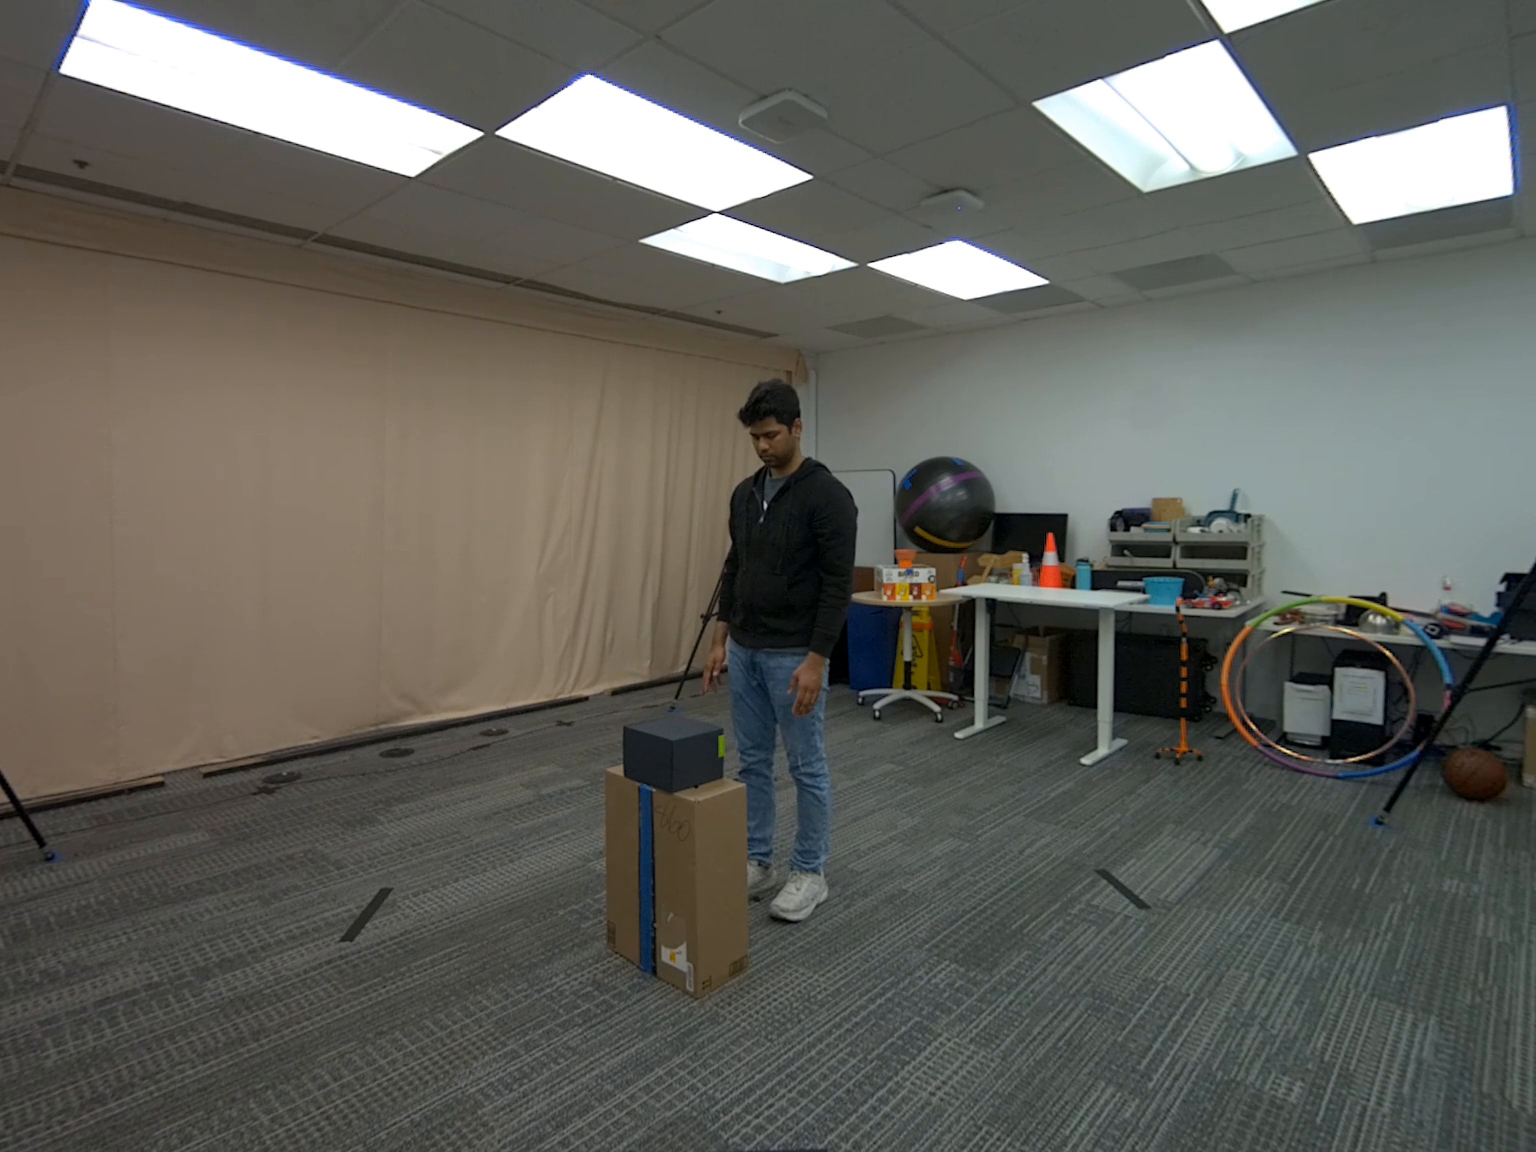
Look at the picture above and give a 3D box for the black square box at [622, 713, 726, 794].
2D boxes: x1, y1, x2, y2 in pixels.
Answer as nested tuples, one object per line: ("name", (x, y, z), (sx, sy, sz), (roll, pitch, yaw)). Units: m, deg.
("black square box", (-0.286, 0.533, 2.566), (0.235, 0.155, 0.210), (4, 5, 43))
